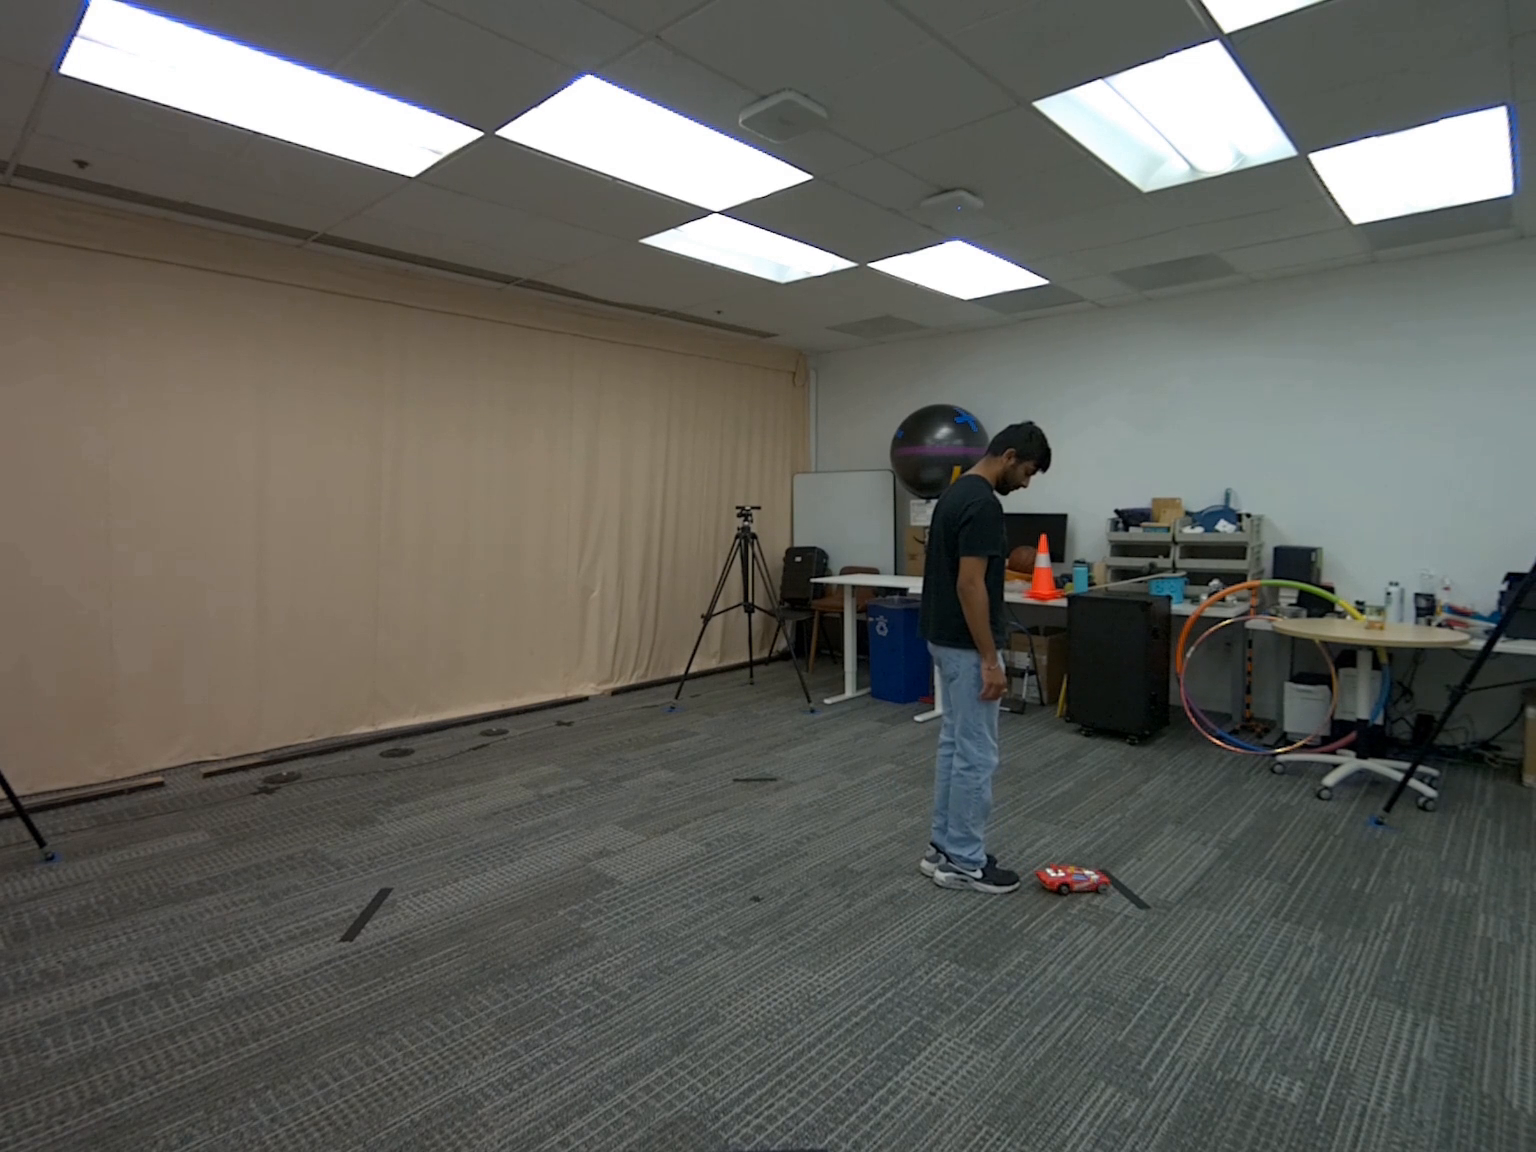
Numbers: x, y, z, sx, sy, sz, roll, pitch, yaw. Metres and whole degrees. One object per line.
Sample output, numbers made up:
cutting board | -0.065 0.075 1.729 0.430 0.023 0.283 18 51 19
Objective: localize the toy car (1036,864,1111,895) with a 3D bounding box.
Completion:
toy car | 1.105 1.107 3.054 0.254 0.083 0.131 11 3 -4
